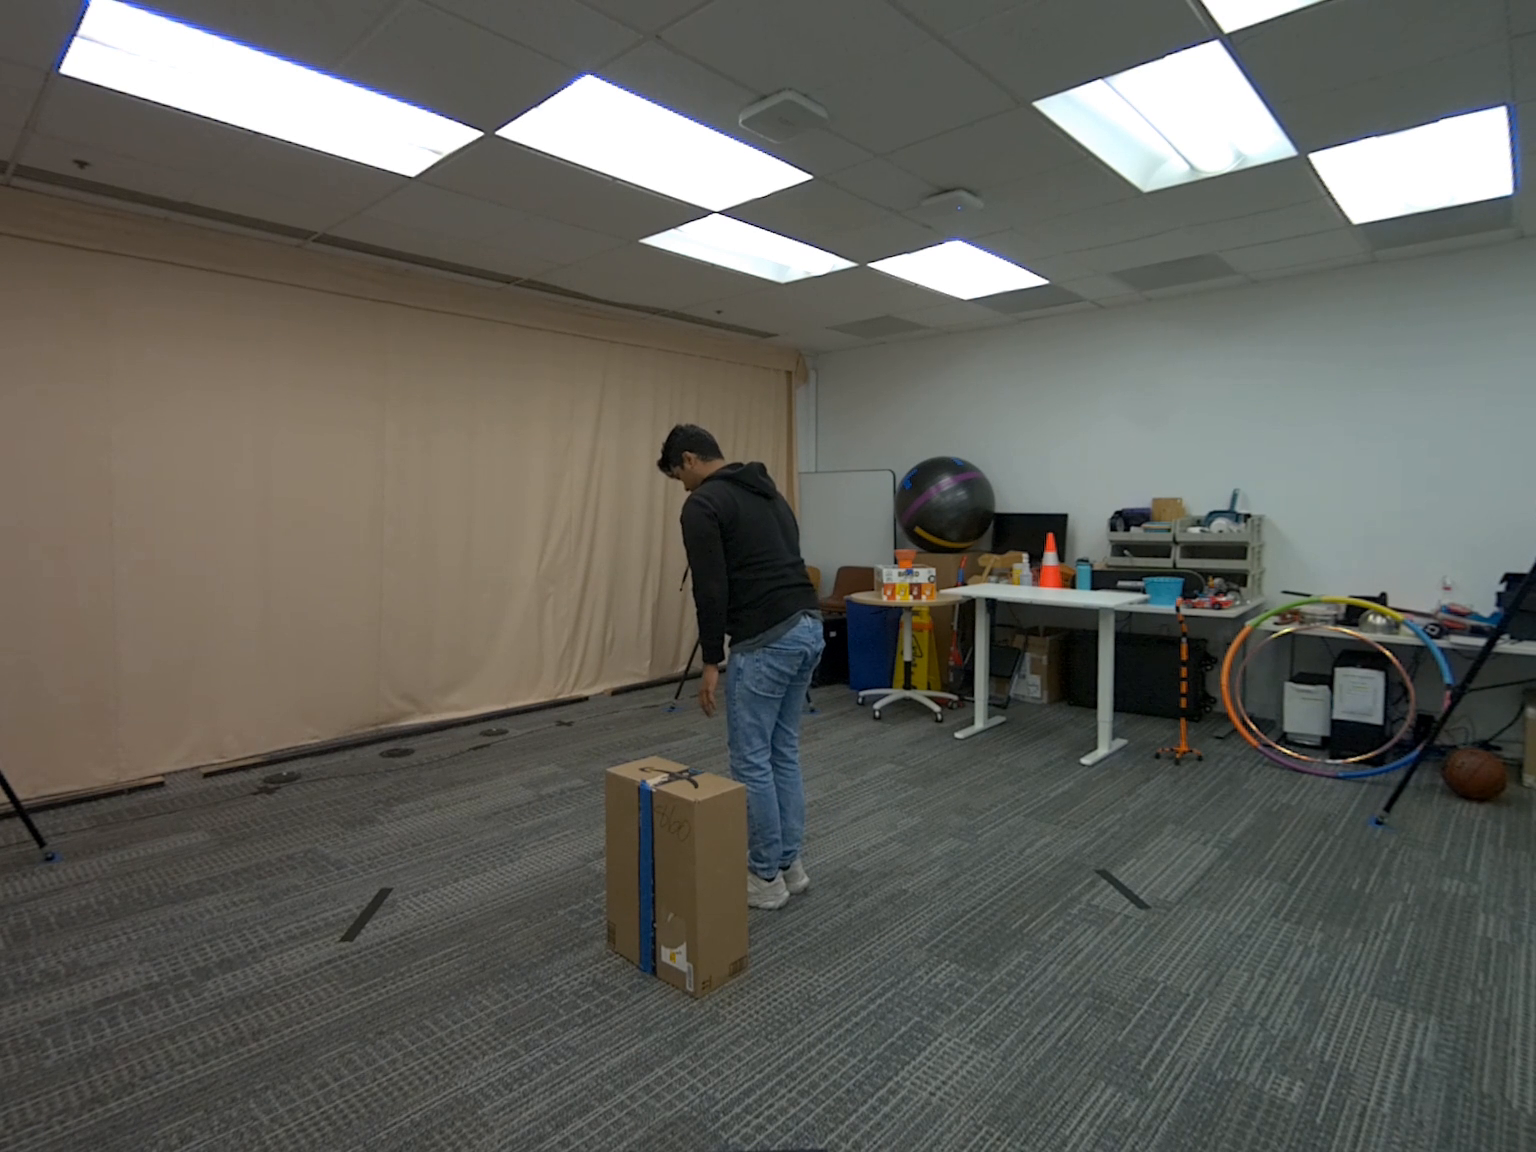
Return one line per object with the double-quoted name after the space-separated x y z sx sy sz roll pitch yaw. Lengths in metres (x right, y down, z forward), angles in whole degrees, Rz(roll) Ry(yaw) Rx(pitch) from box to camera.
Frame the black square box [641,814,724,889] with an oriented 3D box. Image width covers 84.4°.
-0.327 1.044 3.239 0.224 0.155 0.221 3 6 38 "black square box"
